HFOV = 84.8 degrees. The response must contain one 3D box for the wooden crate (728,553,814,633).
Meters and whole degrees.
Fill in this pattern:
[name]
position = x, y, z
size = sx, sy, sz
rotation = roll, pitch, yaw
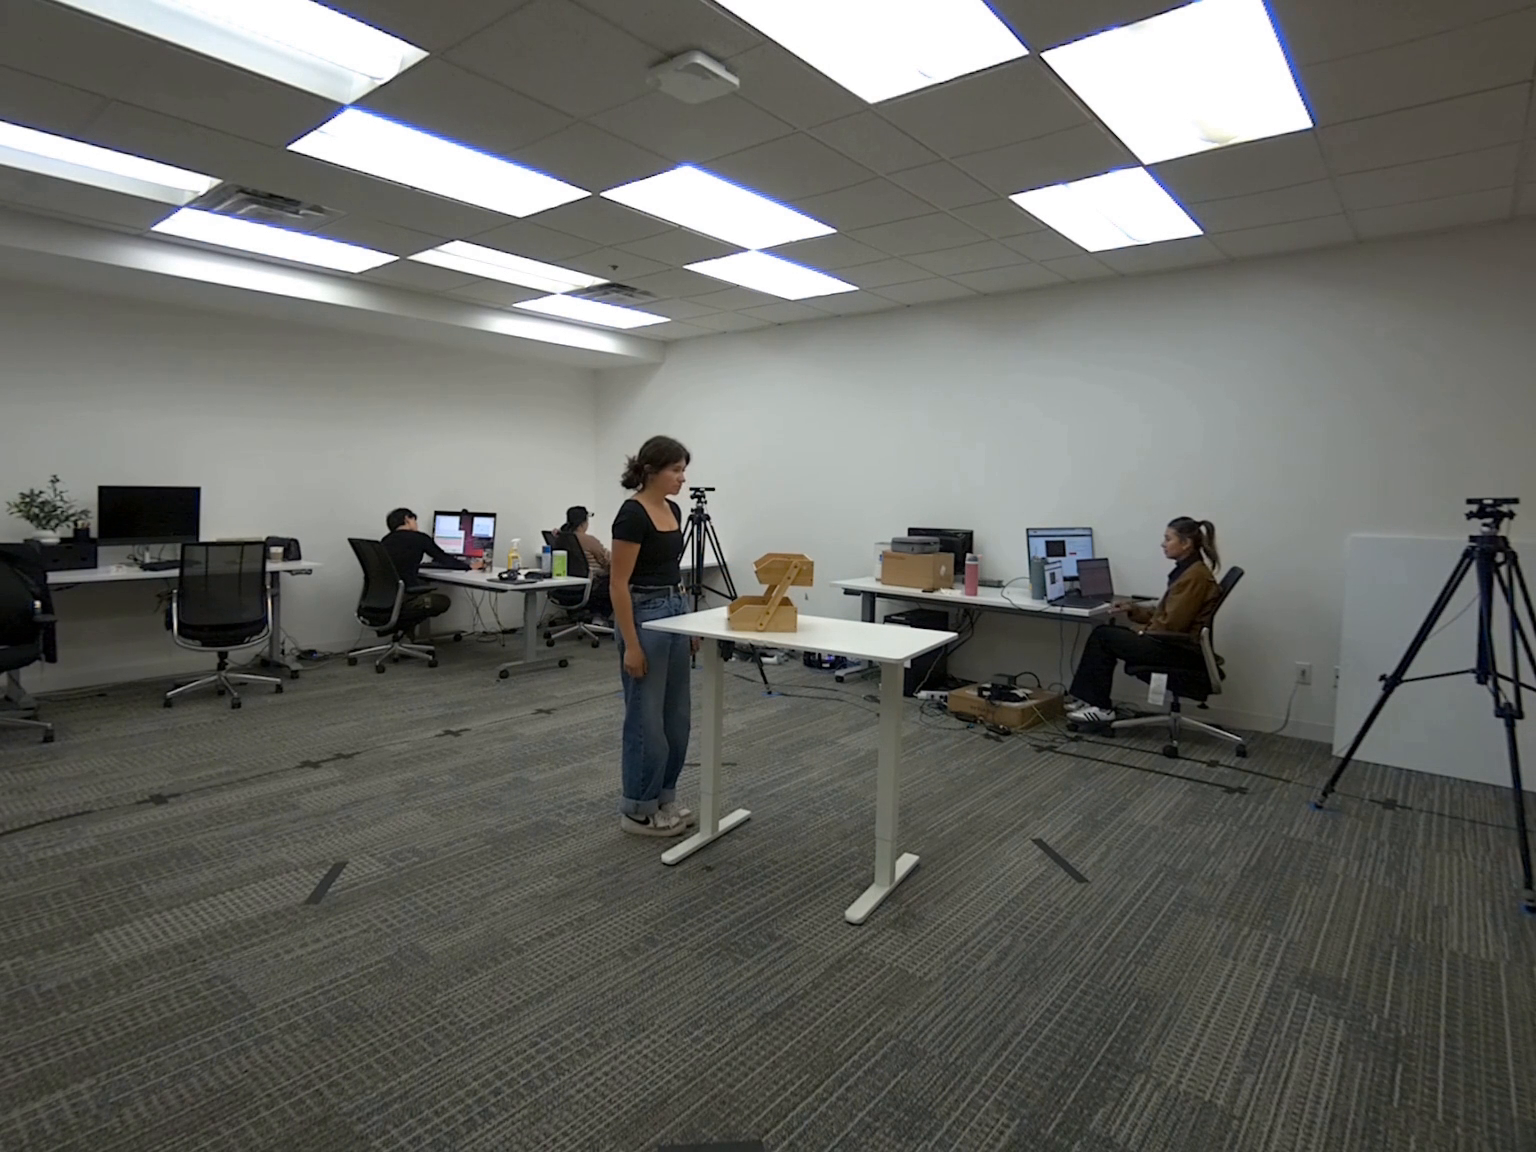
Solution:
[wooden crate]
position = -0.011, 0.052, 3.177
size = 0.302, 0.272, 0.326
rotation = 1, 5, -2
